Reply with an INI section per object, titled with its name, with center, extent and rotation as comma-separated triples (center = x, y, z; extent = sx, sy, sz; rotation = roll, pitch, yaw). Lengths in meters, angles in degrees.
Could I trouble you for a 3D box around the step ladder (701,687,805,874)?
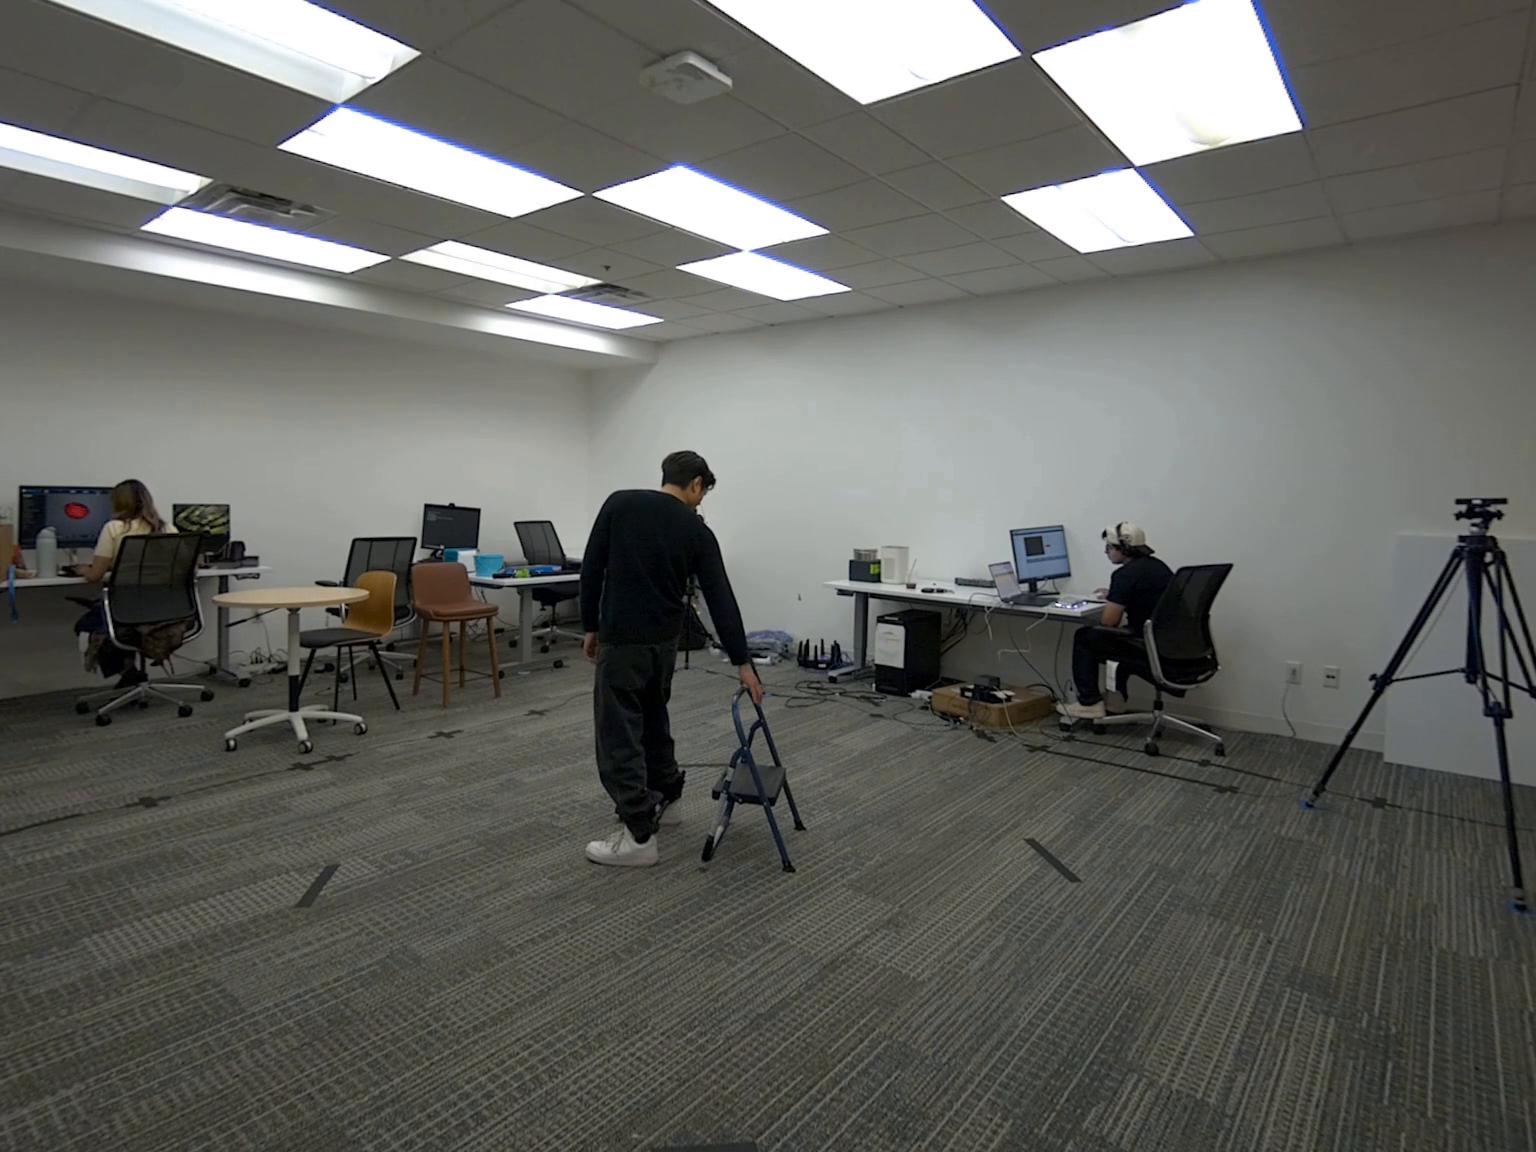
[step ladder]
center = -0.047, 0.750, 3.322
extent = 0.354, 0.604, 0.427
rotation = 2, 4, 10
